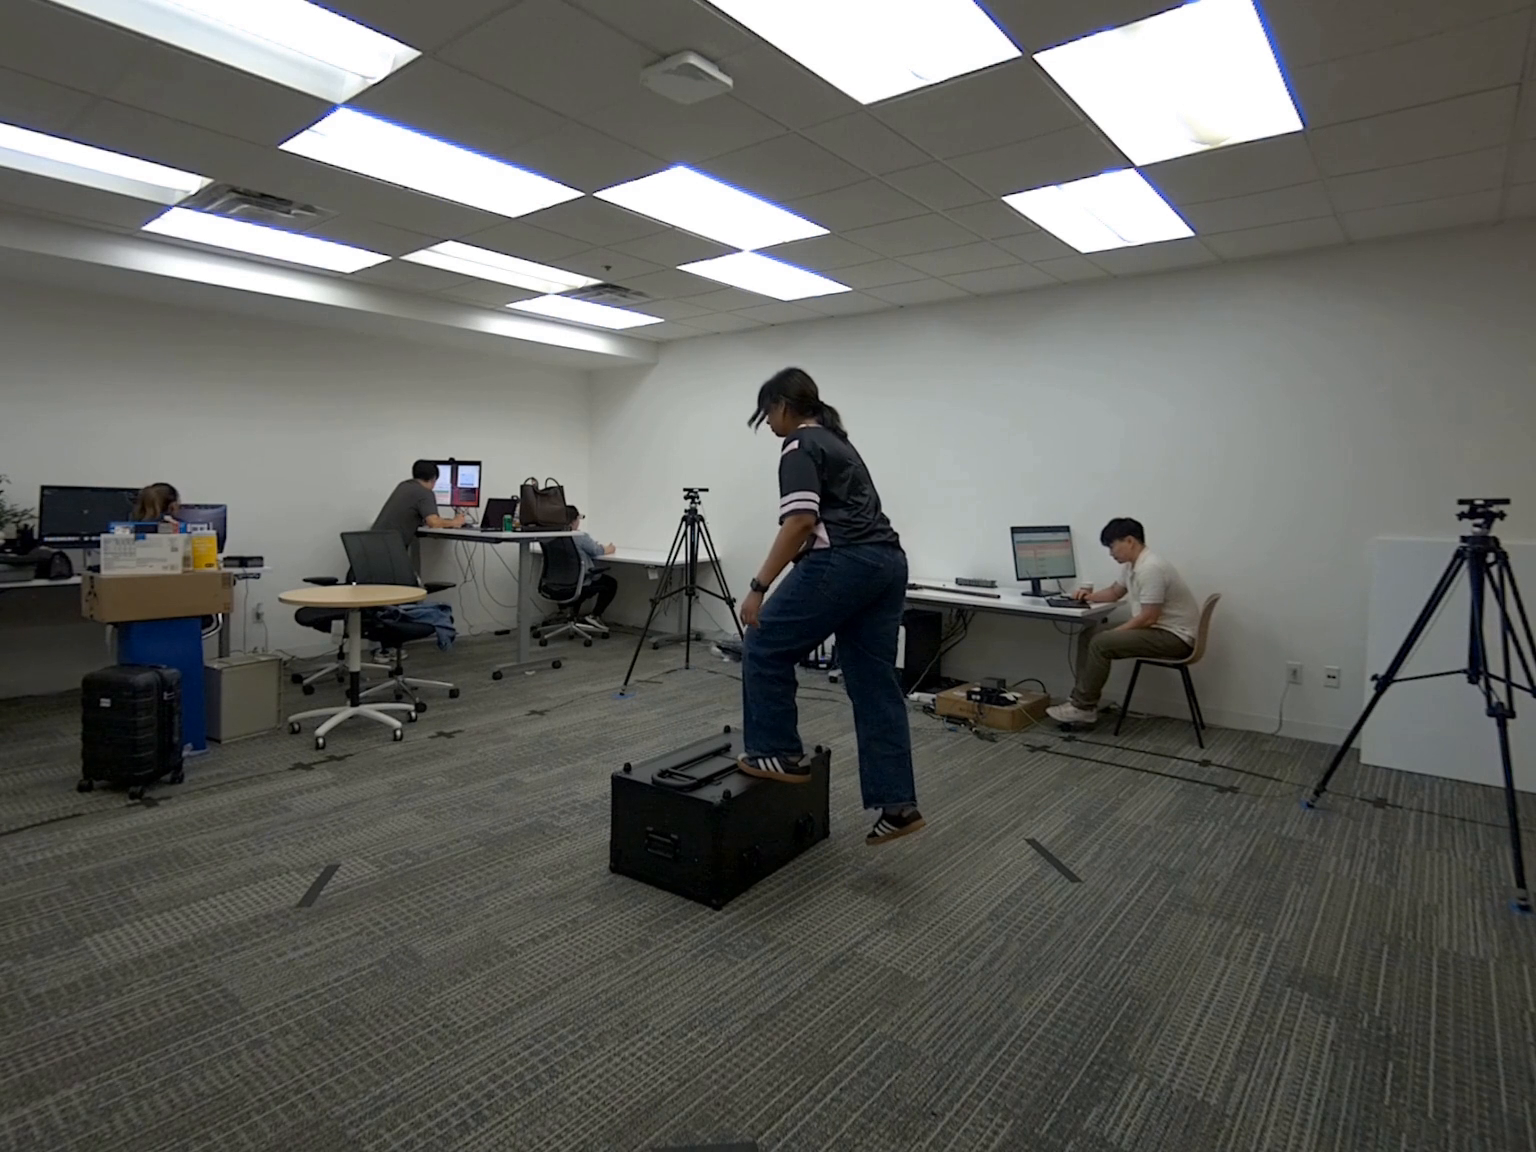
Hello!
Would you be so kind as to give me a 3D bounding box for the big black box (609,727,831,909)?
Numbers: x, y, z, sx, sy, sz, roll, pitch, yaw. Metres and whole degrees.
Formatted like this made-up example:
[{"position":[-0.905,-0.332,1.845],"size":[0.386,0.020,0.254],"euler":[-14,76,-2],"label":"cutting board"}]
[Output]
[{"position":[-0.156,0.869,3.274],"size":[0.539,0.384,0.845],"euler":[2,4,33],"label":"big black box"}]
